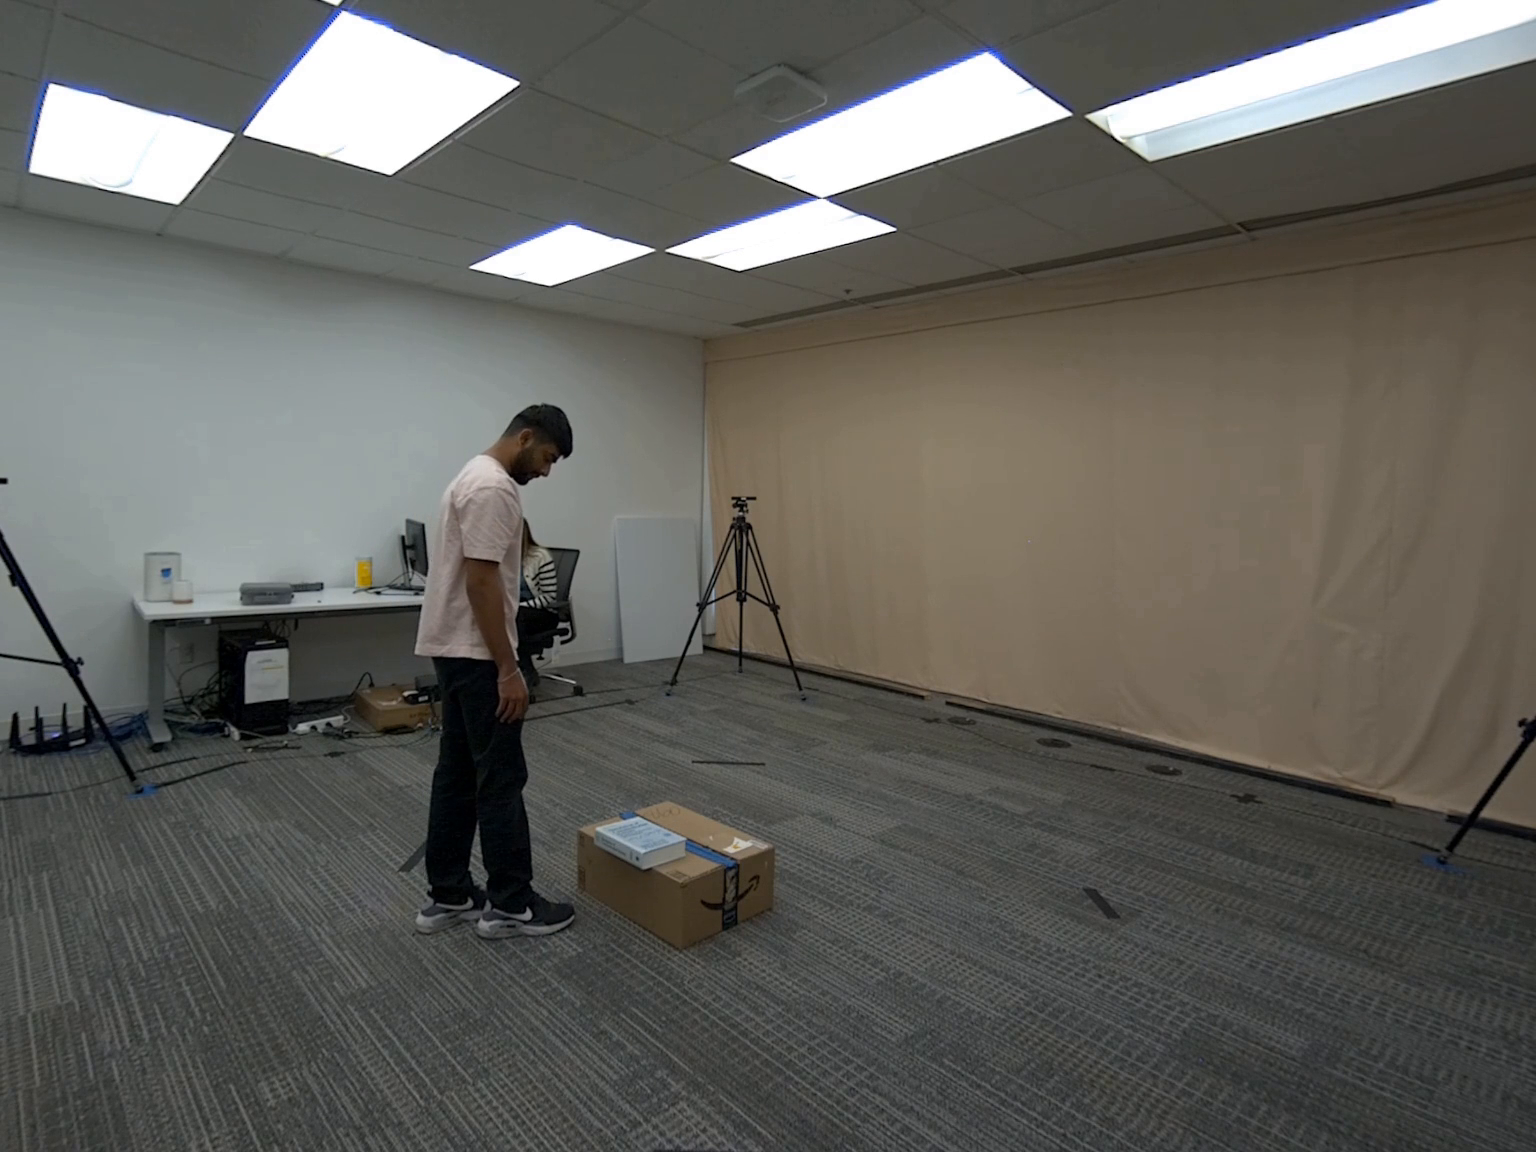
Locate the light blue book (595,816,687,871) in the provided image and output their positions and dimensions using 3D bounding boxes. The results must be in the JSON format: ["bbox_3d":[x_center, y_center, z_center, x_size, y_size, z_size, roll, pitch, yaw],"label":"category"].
[{"bbox_3d":[-0.430,0.884,2.801,0.268,0.059,0.187,6,5,44],"label":"light blue book"}]
